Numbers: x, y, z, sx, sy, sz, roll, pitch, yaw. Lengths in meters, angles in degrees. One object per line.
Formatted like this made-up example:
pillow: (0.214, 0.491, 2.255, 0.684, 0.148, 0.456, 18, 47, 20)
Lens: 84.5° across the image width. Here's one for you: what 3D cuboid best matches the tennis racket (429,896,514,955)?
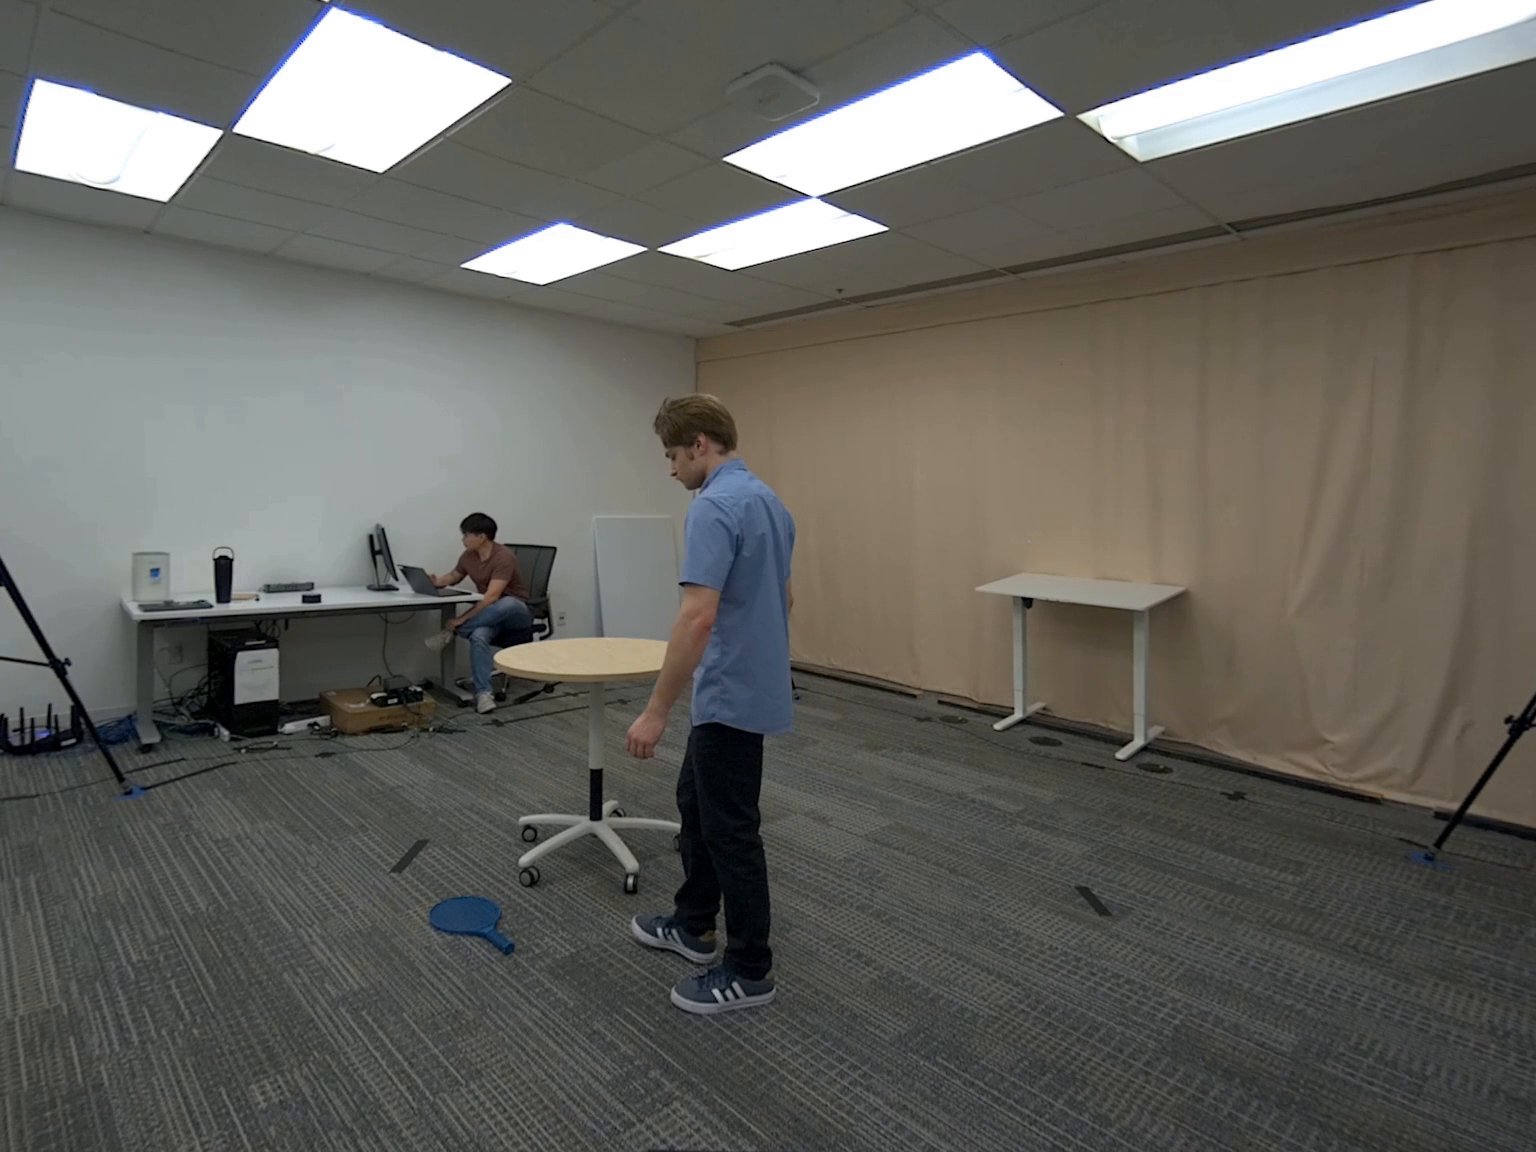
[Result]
tennis racket: (-0.941, 1.114, 2.690, 0.209, 0.032, 0.444, -4, 6, -43)
